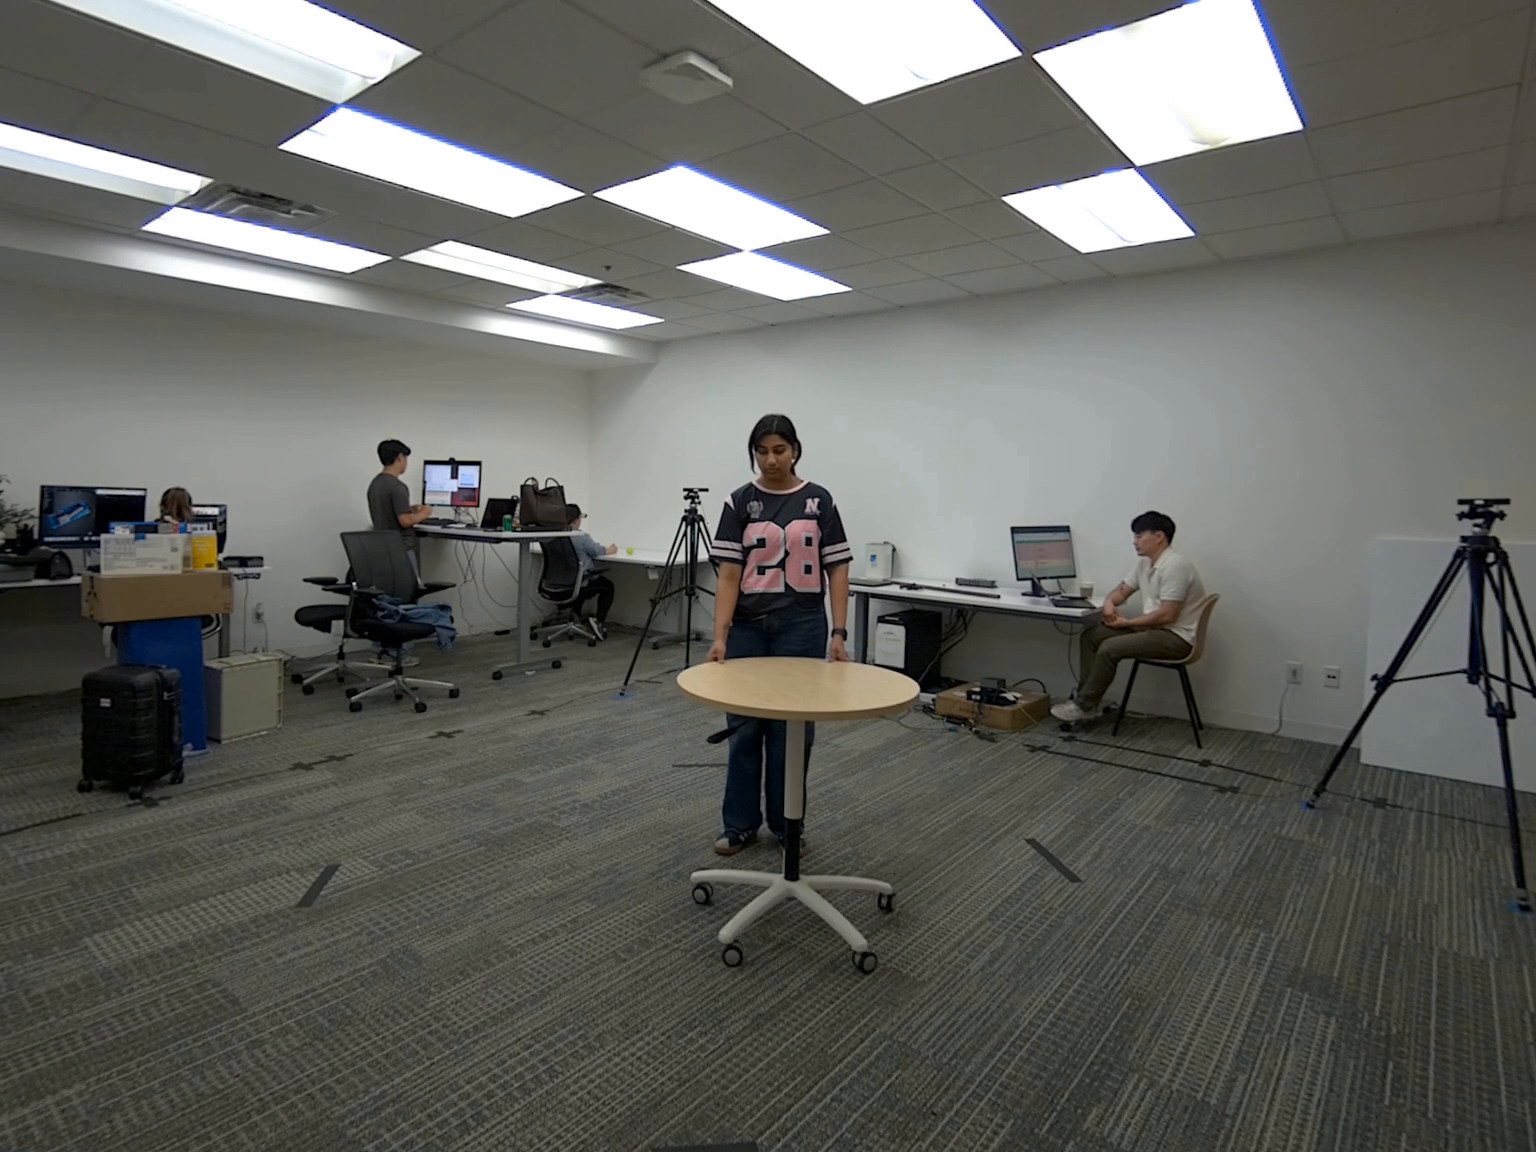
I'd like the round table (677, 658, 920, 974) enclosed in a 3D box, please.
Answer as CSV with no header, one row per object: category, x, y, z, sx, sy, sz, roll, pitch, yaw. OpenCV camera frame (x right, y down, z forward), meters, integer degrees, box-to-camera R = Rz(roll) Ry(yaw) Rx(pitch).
round table,0.078,0.715,2.742,0.784,0.784,0.789,1,4,-2
